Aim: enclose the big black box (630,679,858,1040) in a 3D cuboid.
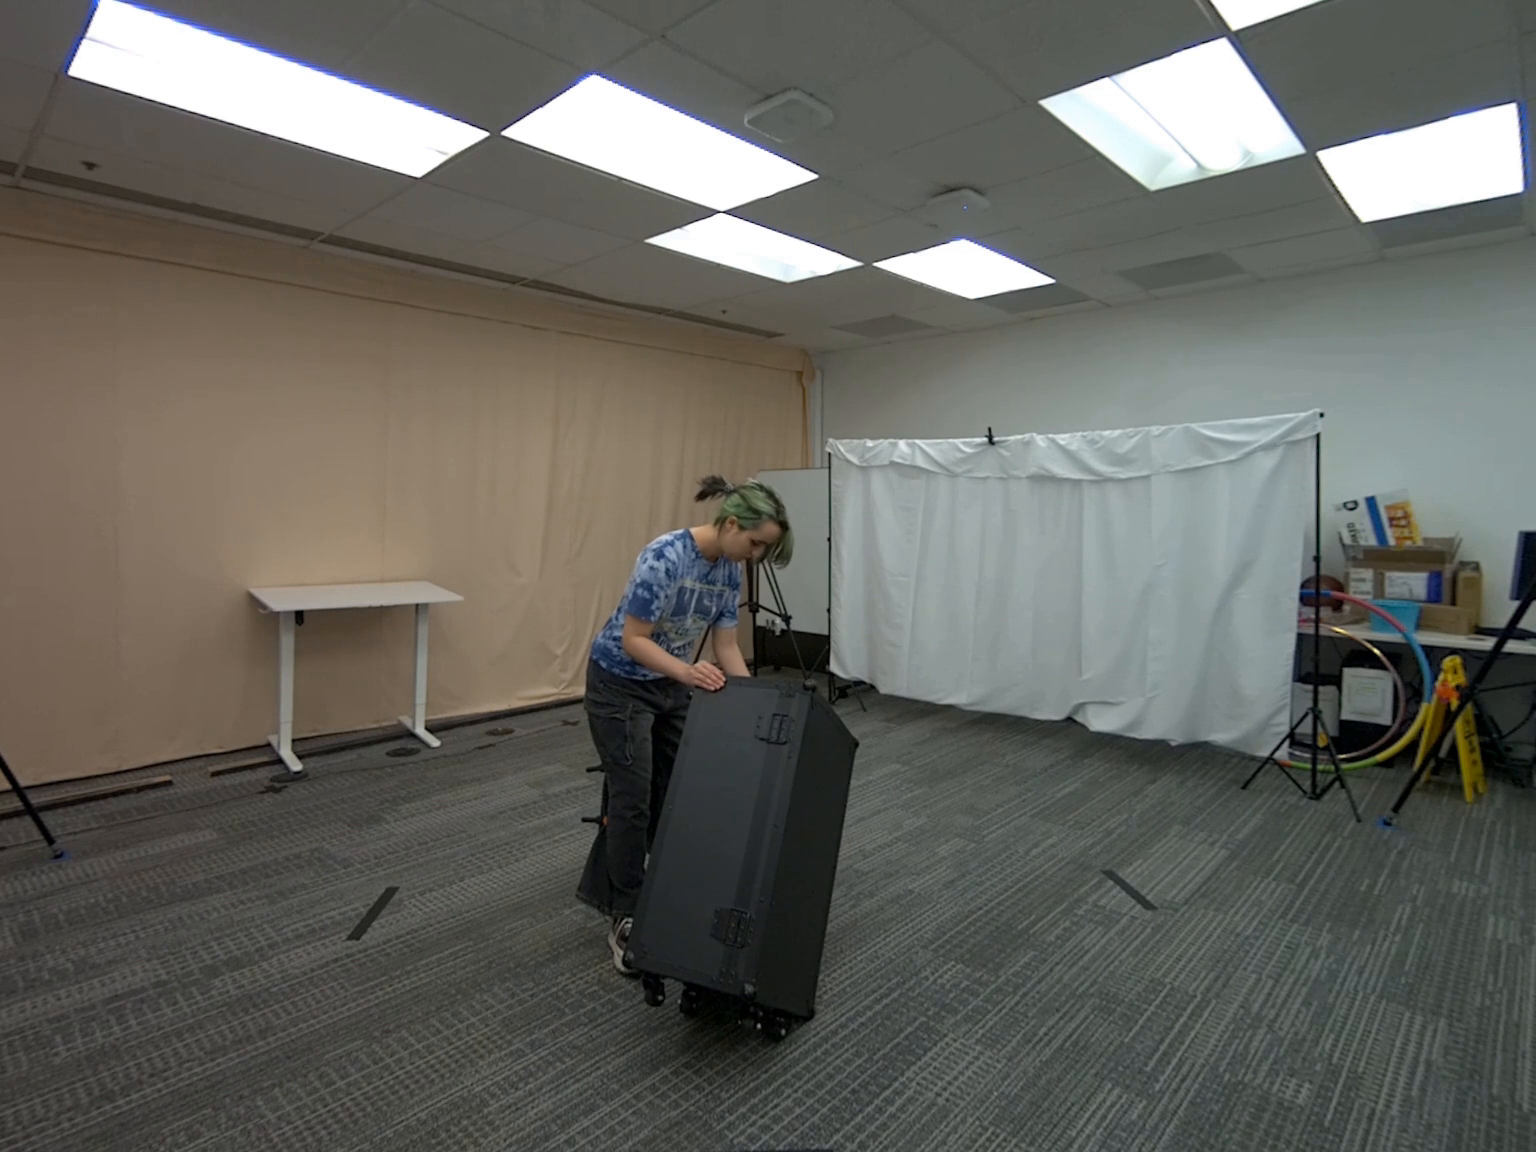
[{"bbox_3d":[-0.049,0.766,2.340,0.406,0.868,0.504,0,-30,25],"label":"big black box"}]
